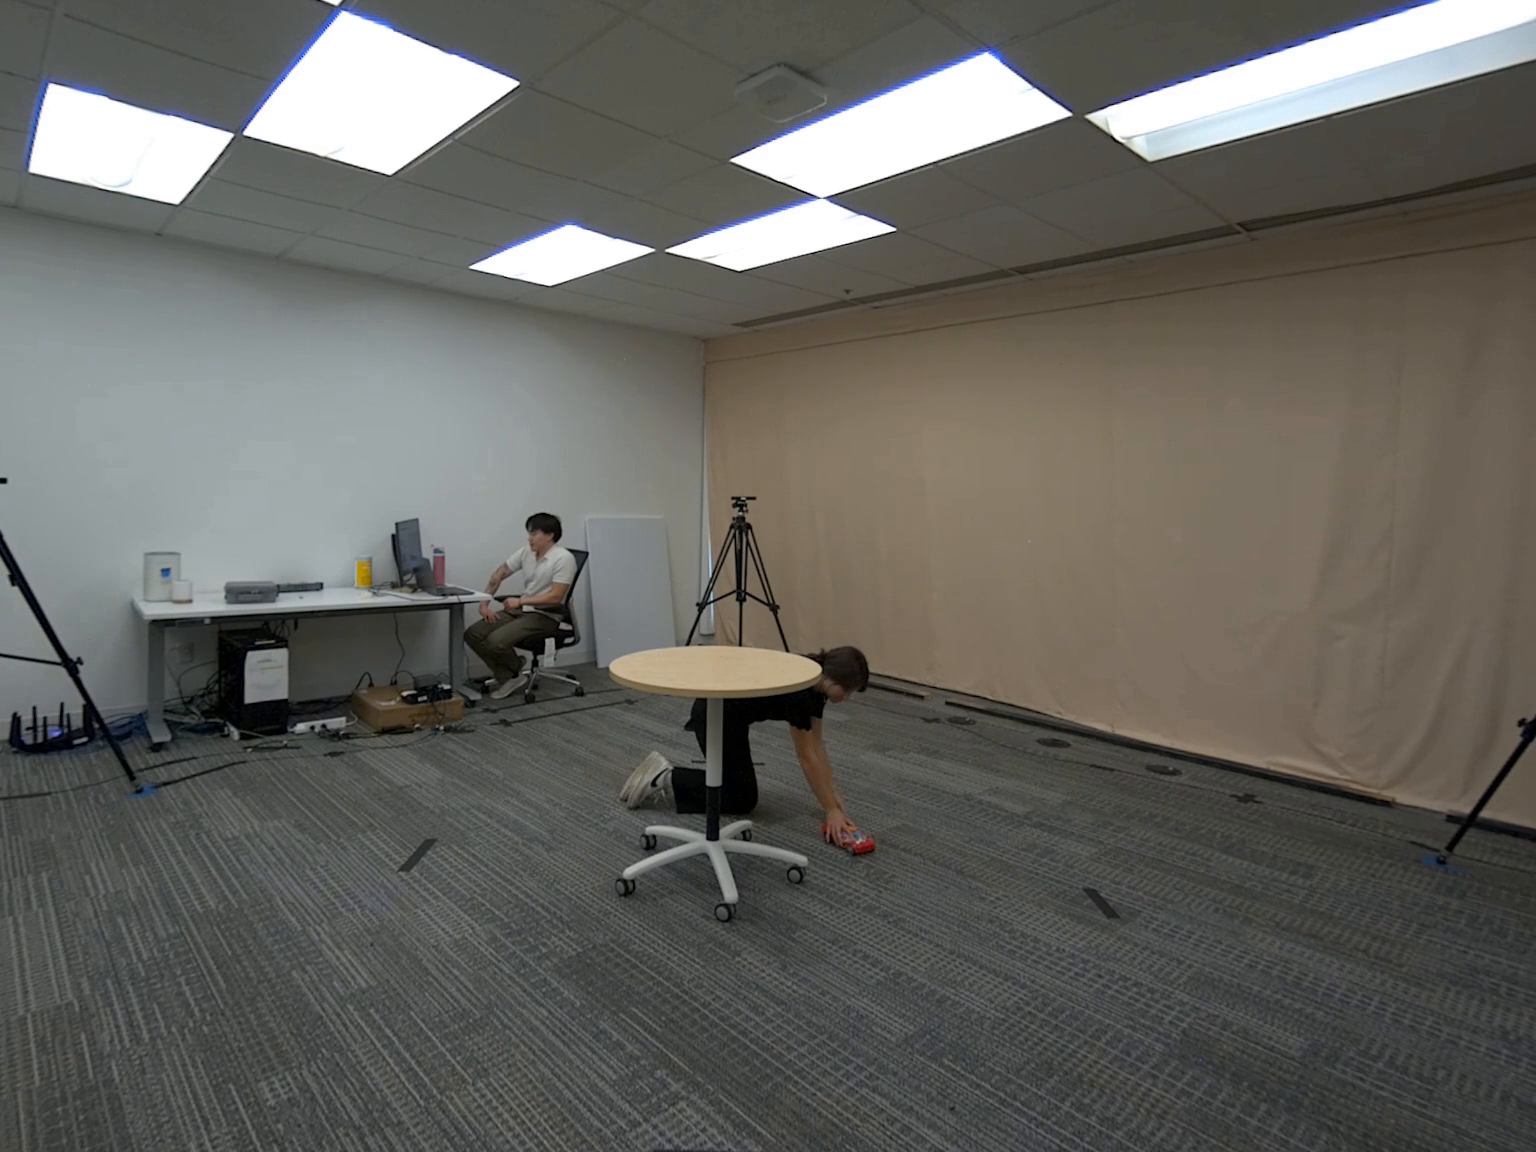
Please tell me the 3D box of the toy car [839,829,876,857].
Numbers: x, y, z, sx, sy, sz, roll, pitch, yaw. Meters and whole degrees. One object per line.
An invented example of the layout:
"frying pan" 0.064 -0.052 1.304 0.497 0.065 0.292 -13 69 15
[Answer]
"toy car" 0.312 1.062 3.413 0.128 0.082 0.262 -1 15 -30
